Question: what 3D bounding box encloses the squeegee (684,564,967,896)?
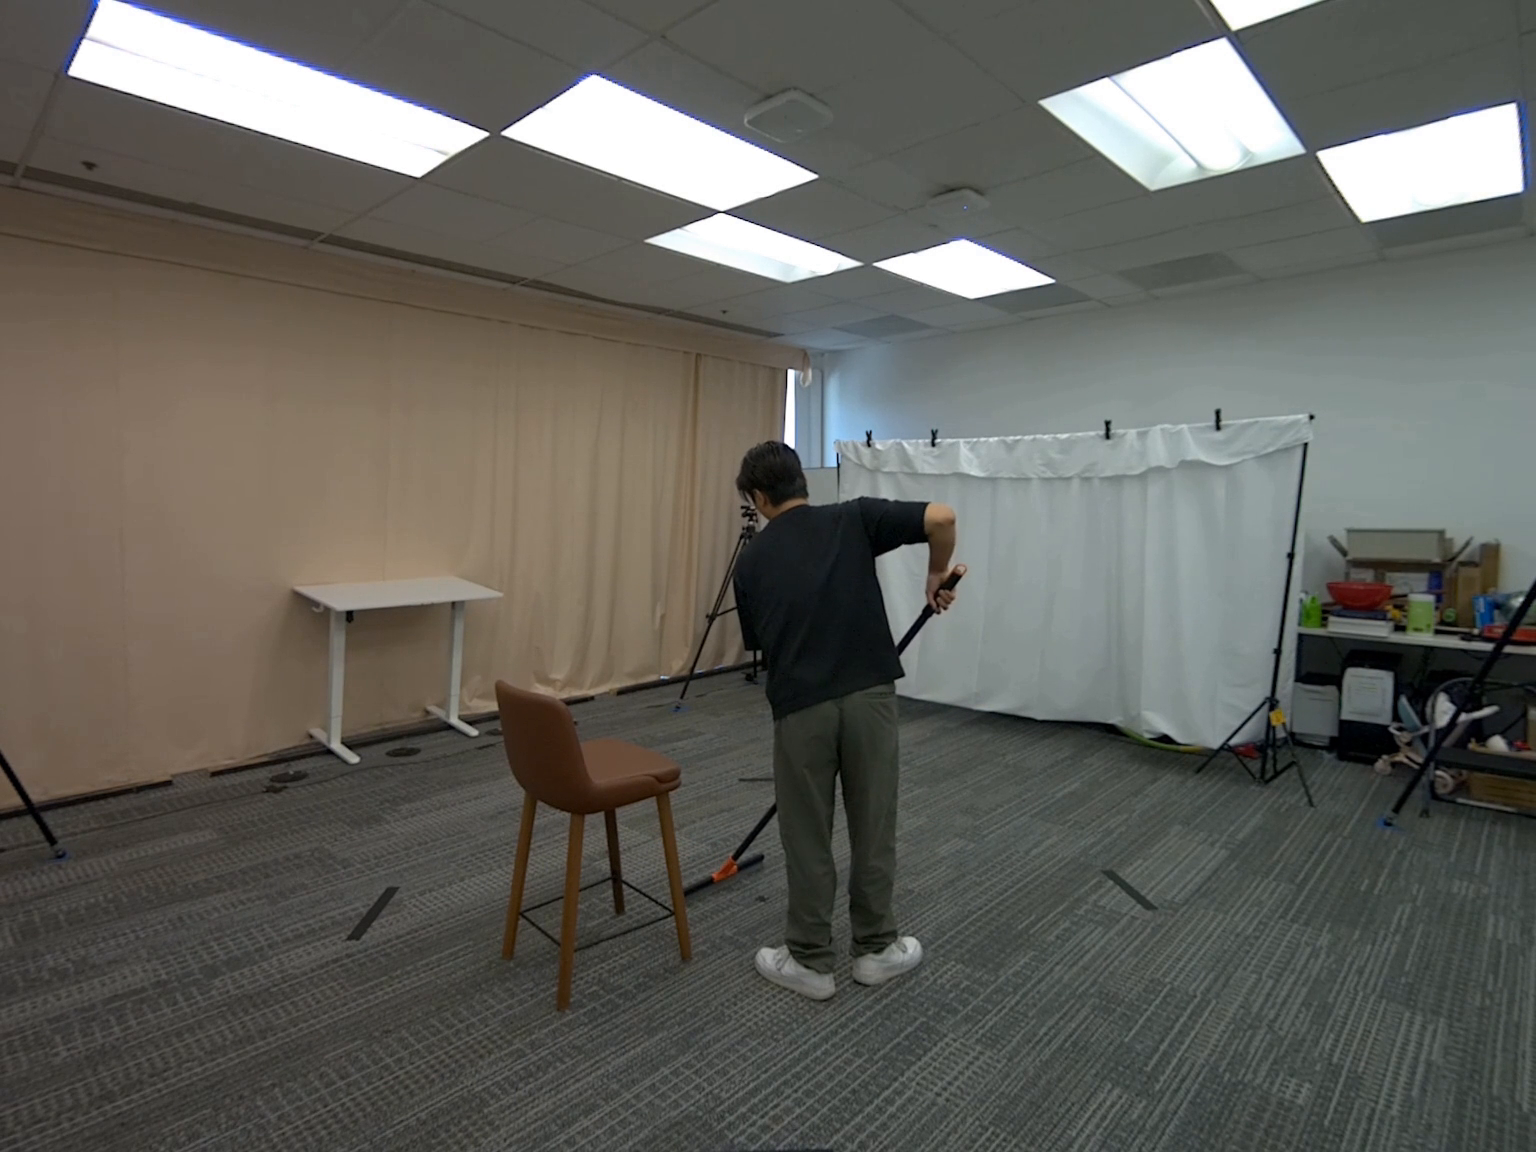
[{"bbox_3d":[0.195,0.526,2.747,0.424,1.539,0.054,-6,47,-51],"label":"squeegee"}]
